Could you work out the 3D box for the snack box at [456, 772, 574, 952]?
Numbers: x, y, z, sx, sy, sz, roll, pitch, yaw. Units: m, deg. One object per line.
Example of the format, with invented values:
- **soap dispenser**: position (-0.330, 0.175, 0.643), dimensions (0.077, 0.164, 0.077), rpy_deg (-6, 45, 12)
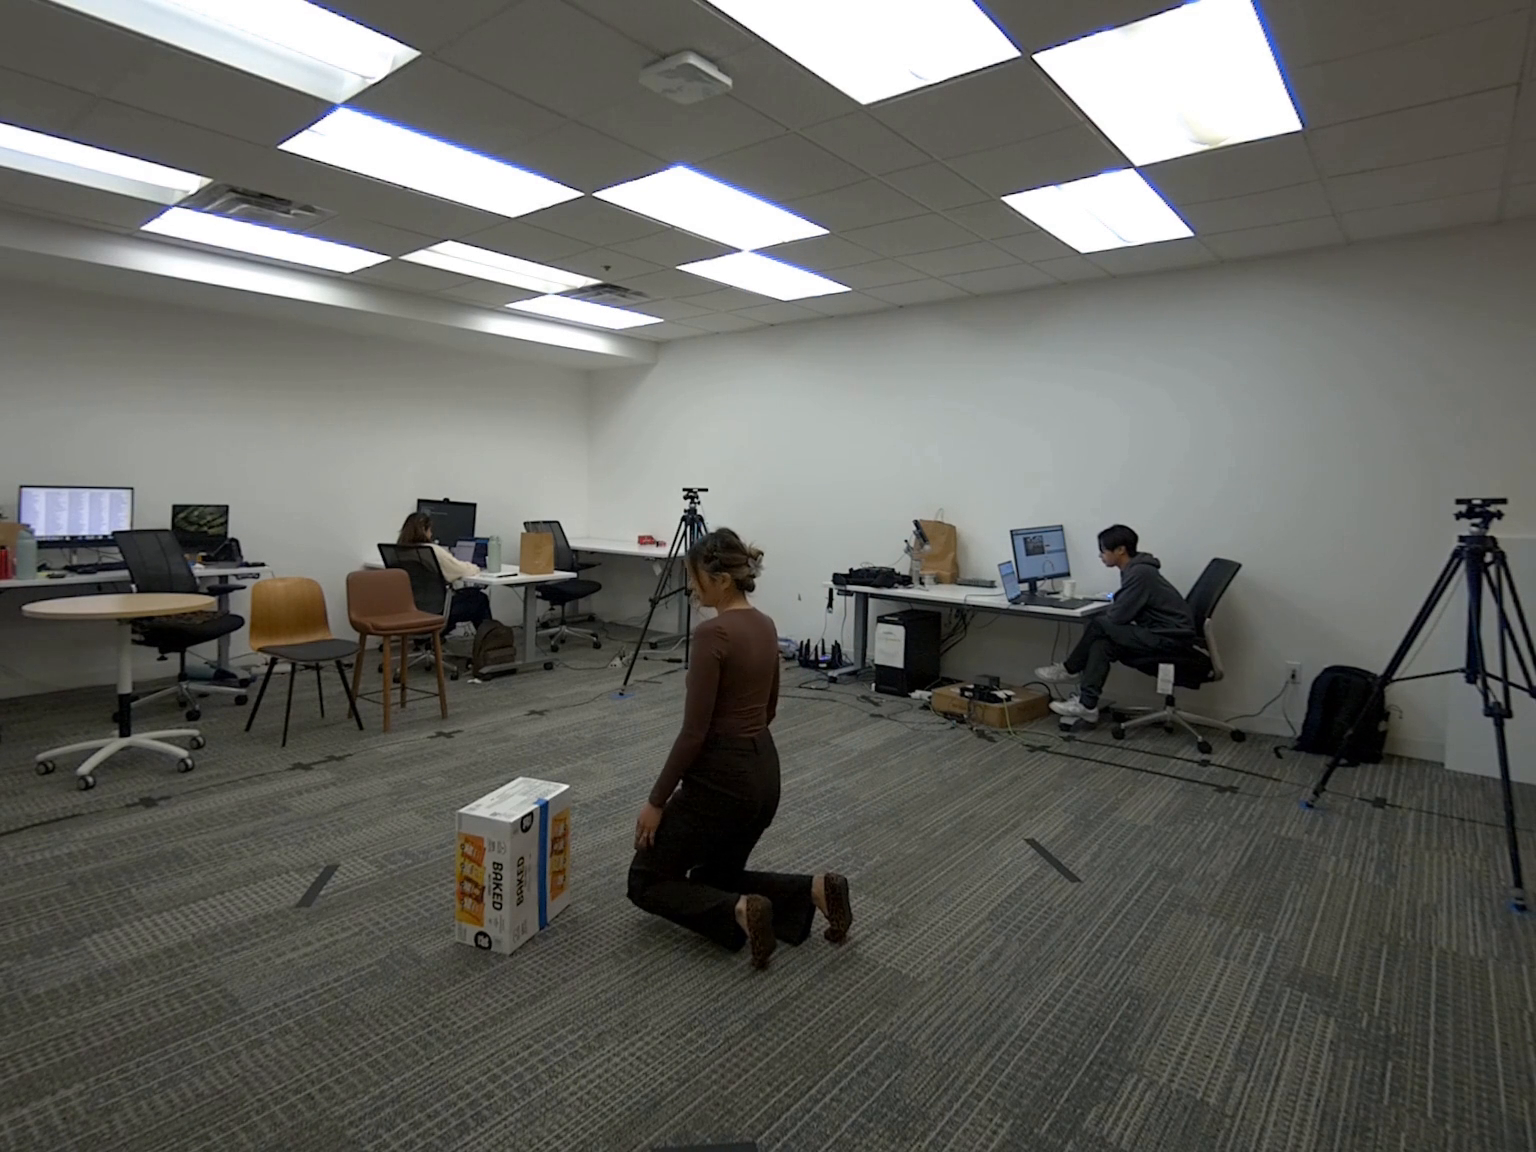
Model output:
- **snack box**: position (-0.805, 0.894, 2.692), dimensions (0.210, 0.404, 0.334), rpy_deg (2, 4, 19)
